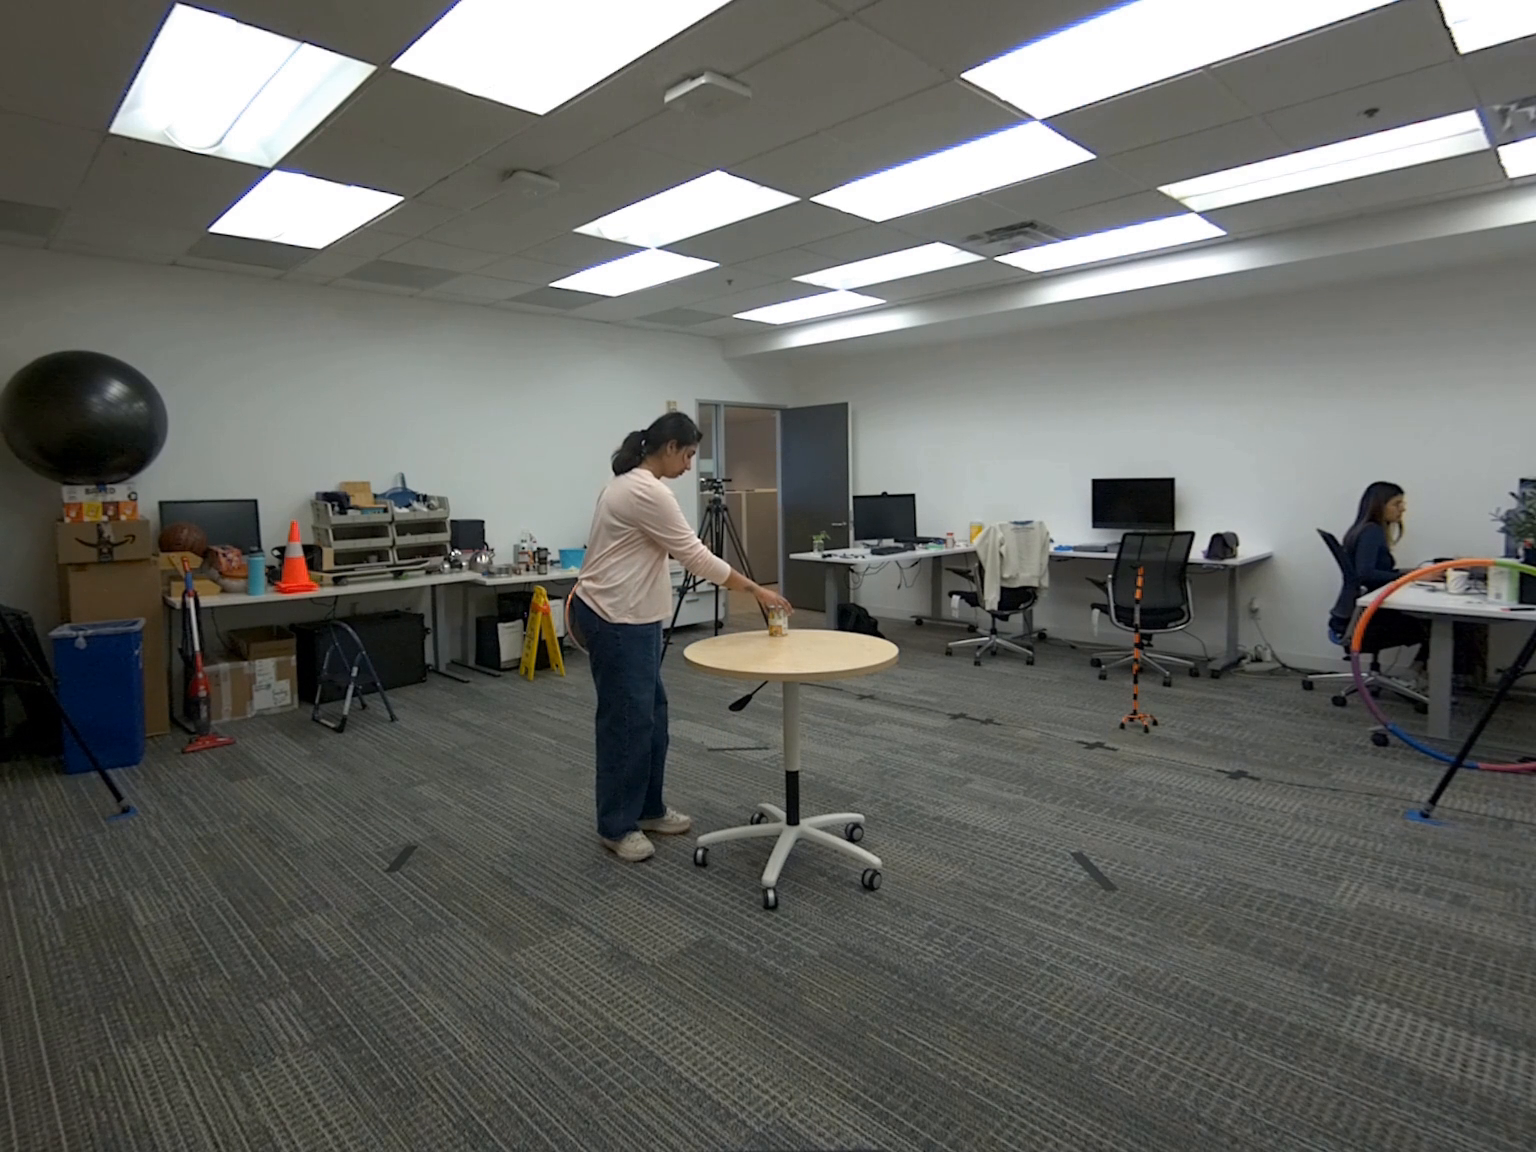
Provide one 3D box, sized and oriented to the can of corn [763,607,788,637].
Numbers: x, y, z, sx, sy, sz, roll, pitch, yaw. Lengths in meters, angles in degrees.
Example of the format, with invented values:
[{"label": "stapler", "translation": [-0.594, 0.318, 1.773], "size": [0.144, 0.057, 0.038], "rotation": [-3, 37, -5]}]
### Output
[{"label": "can of corn", "translation": [0.035, 0.175, 3.334], "size": [0.074, 0.111, 0.074], "rotation": [-2, 2, -2]}]
